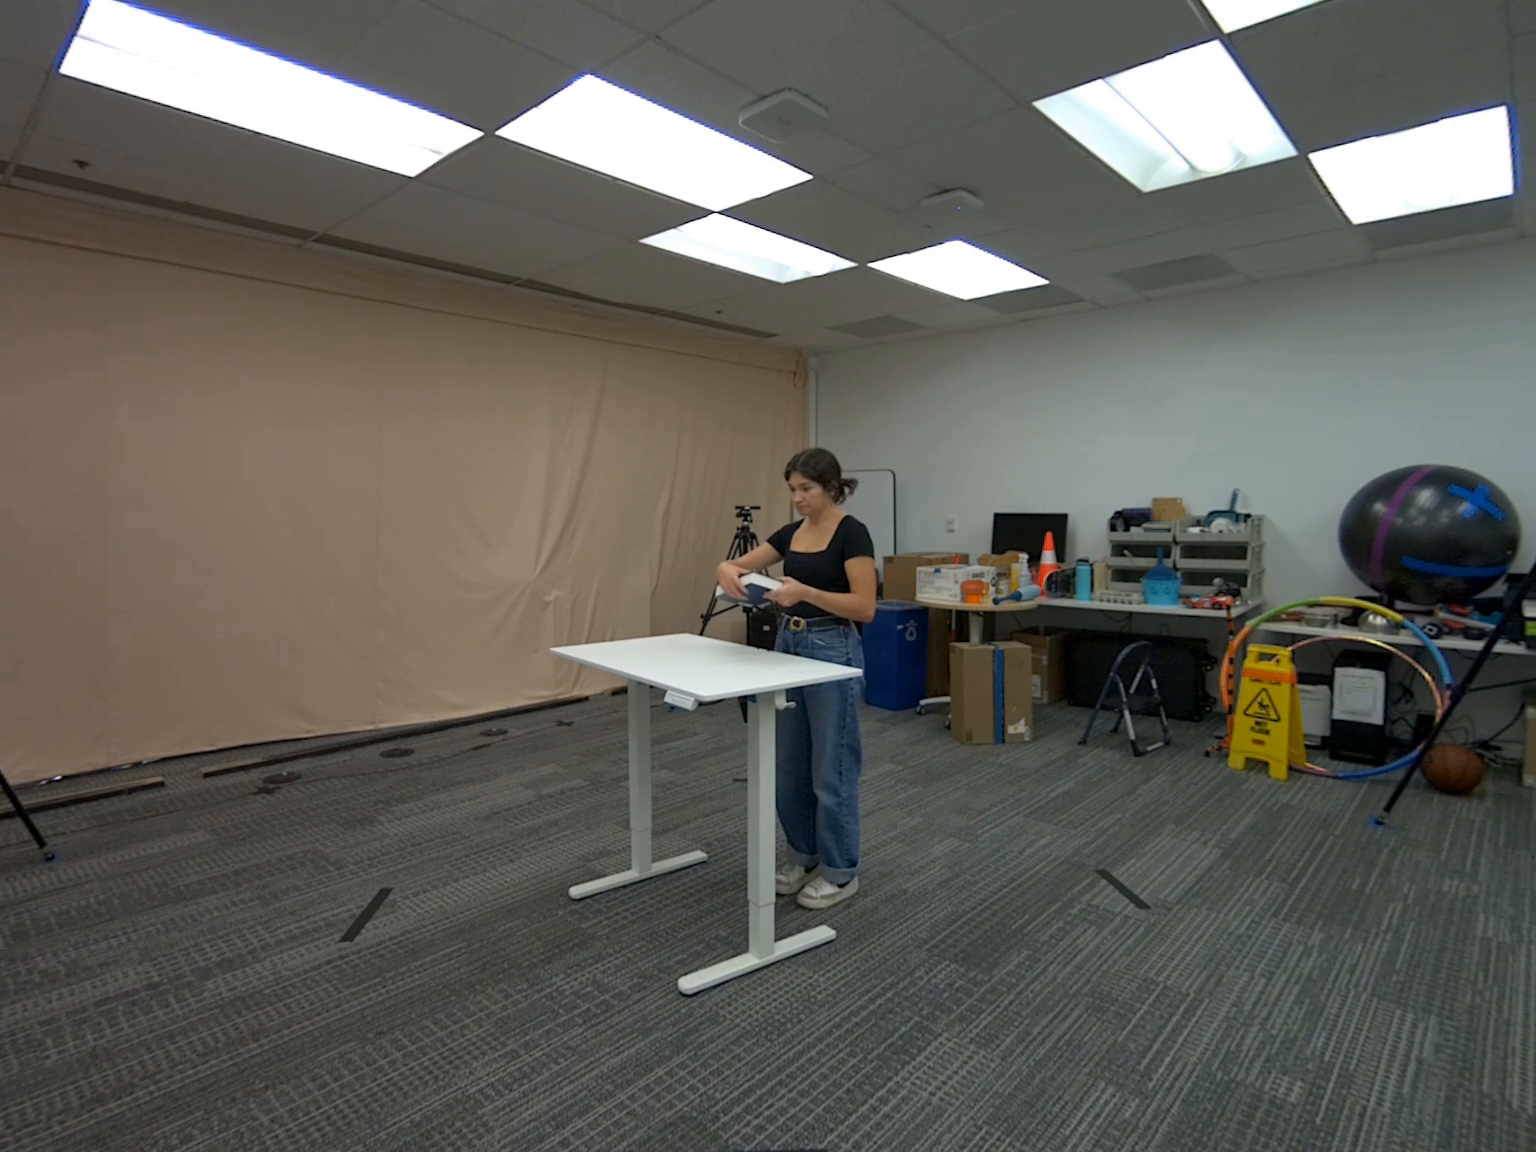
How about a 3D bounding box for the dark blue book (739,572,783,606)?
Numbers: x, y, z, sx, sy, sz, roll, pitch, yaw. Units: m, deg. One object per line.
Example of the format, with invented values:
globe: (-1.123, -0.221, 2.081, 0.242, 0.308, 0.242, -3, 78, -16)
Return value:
dark blue book: (-0.051, 0.052, 2.908, 0.158, 0.045, 0.250, 17, -21, -29)
